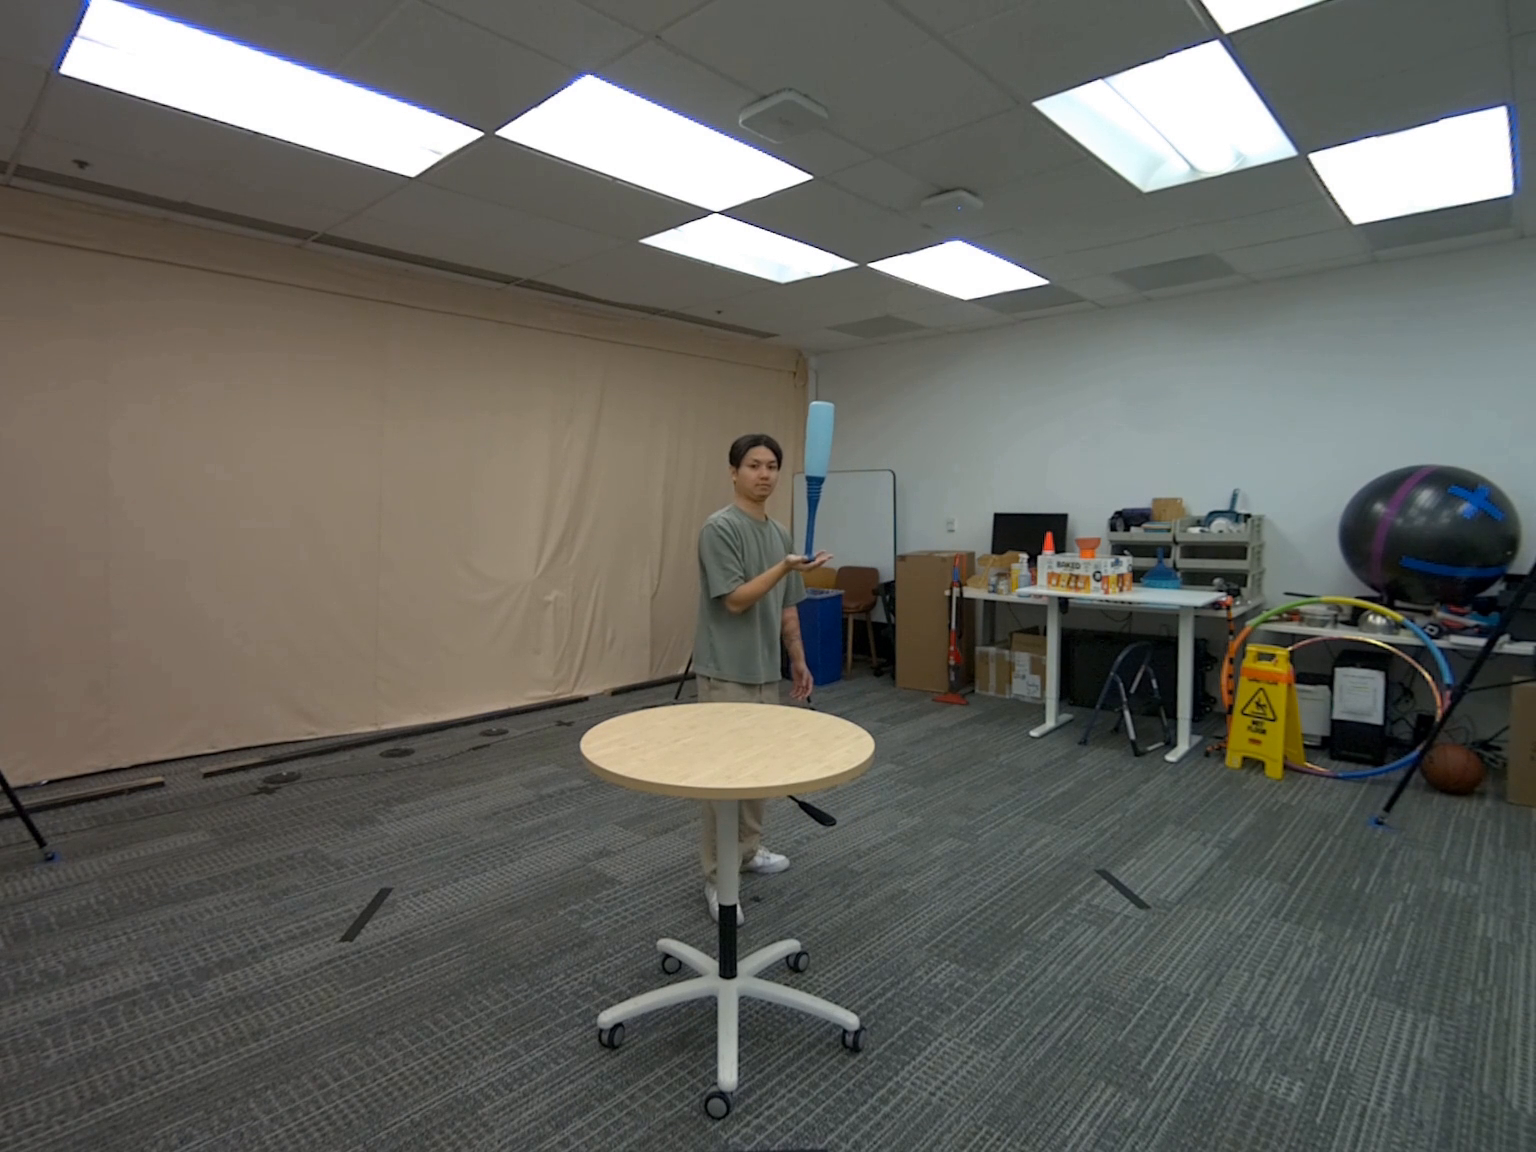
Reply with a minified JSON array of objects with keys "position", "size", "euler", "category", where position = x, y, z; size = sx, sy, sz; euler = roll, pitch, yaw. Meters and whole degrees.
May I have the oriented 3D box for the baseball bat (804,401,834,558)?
[{"position":[0.171,-0.315,2.844],"size":[0.089,0.542,0.089],"euler":[5,4,-2],"category":"baseball bat"}]
